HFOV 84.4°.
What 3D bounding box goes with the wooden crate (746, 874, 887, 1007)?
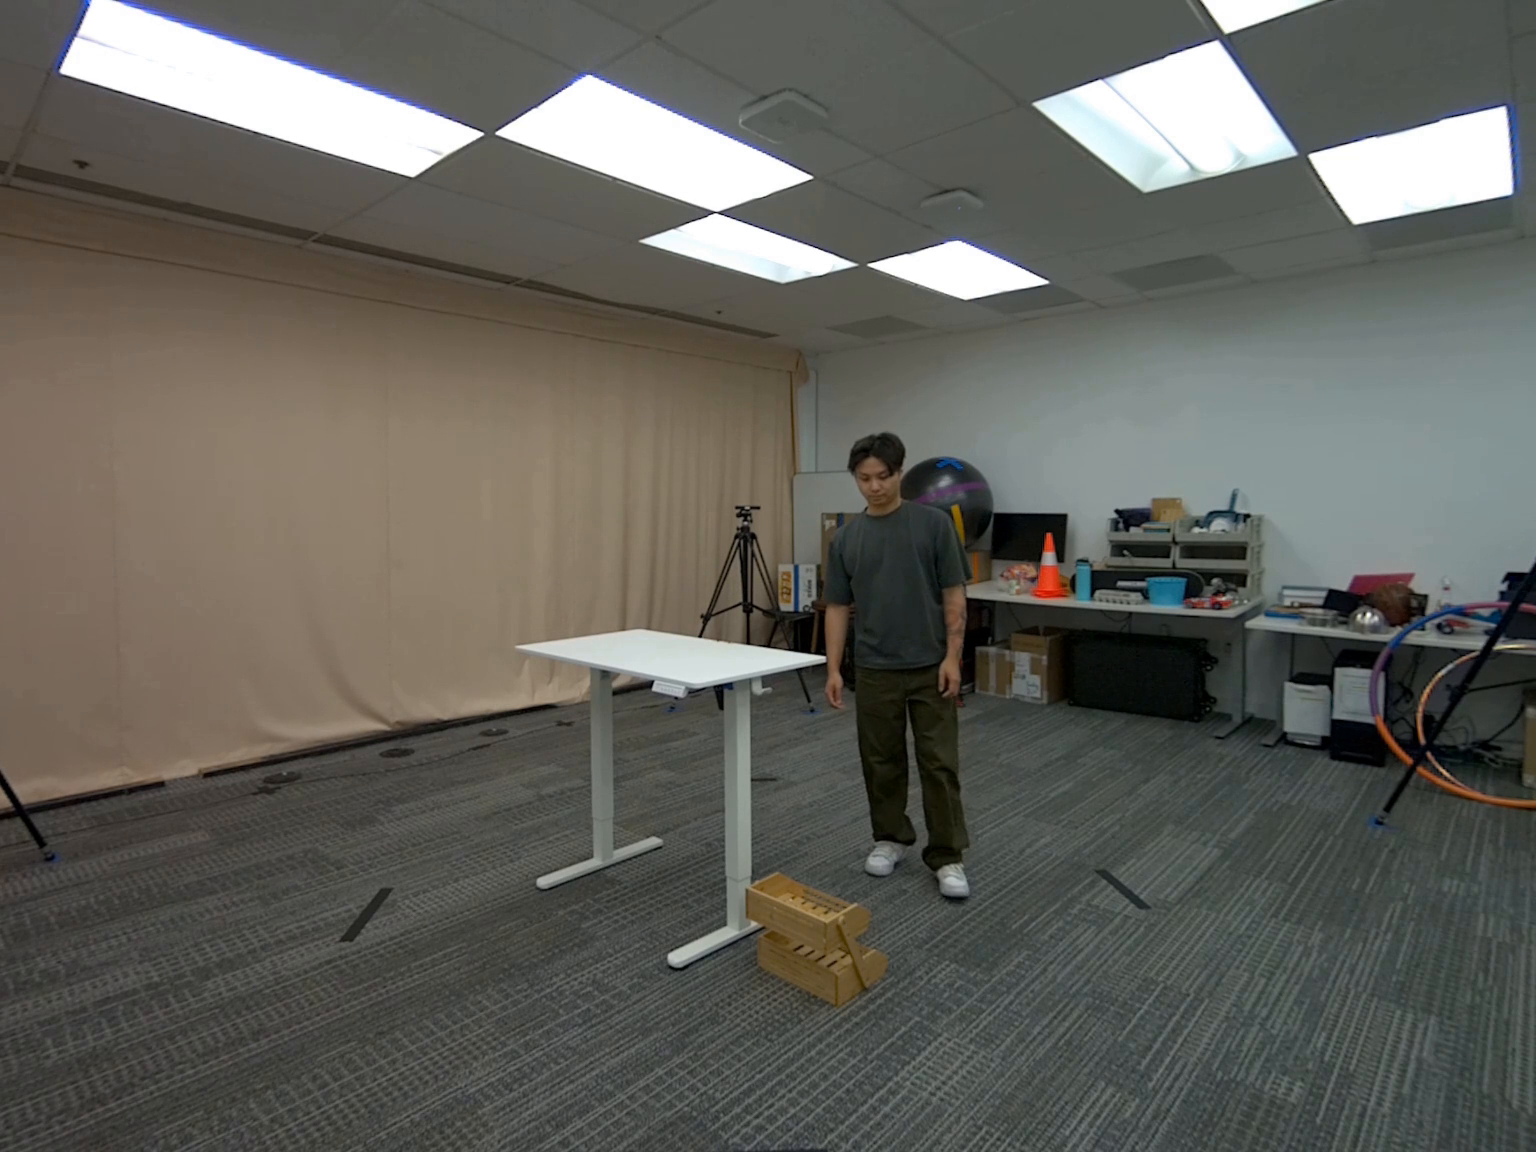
[{"bbox_3d":[0.150,1.052,2.503,0.335,0.273,0.293,3,5,42],"label":"wooden crate"}]
